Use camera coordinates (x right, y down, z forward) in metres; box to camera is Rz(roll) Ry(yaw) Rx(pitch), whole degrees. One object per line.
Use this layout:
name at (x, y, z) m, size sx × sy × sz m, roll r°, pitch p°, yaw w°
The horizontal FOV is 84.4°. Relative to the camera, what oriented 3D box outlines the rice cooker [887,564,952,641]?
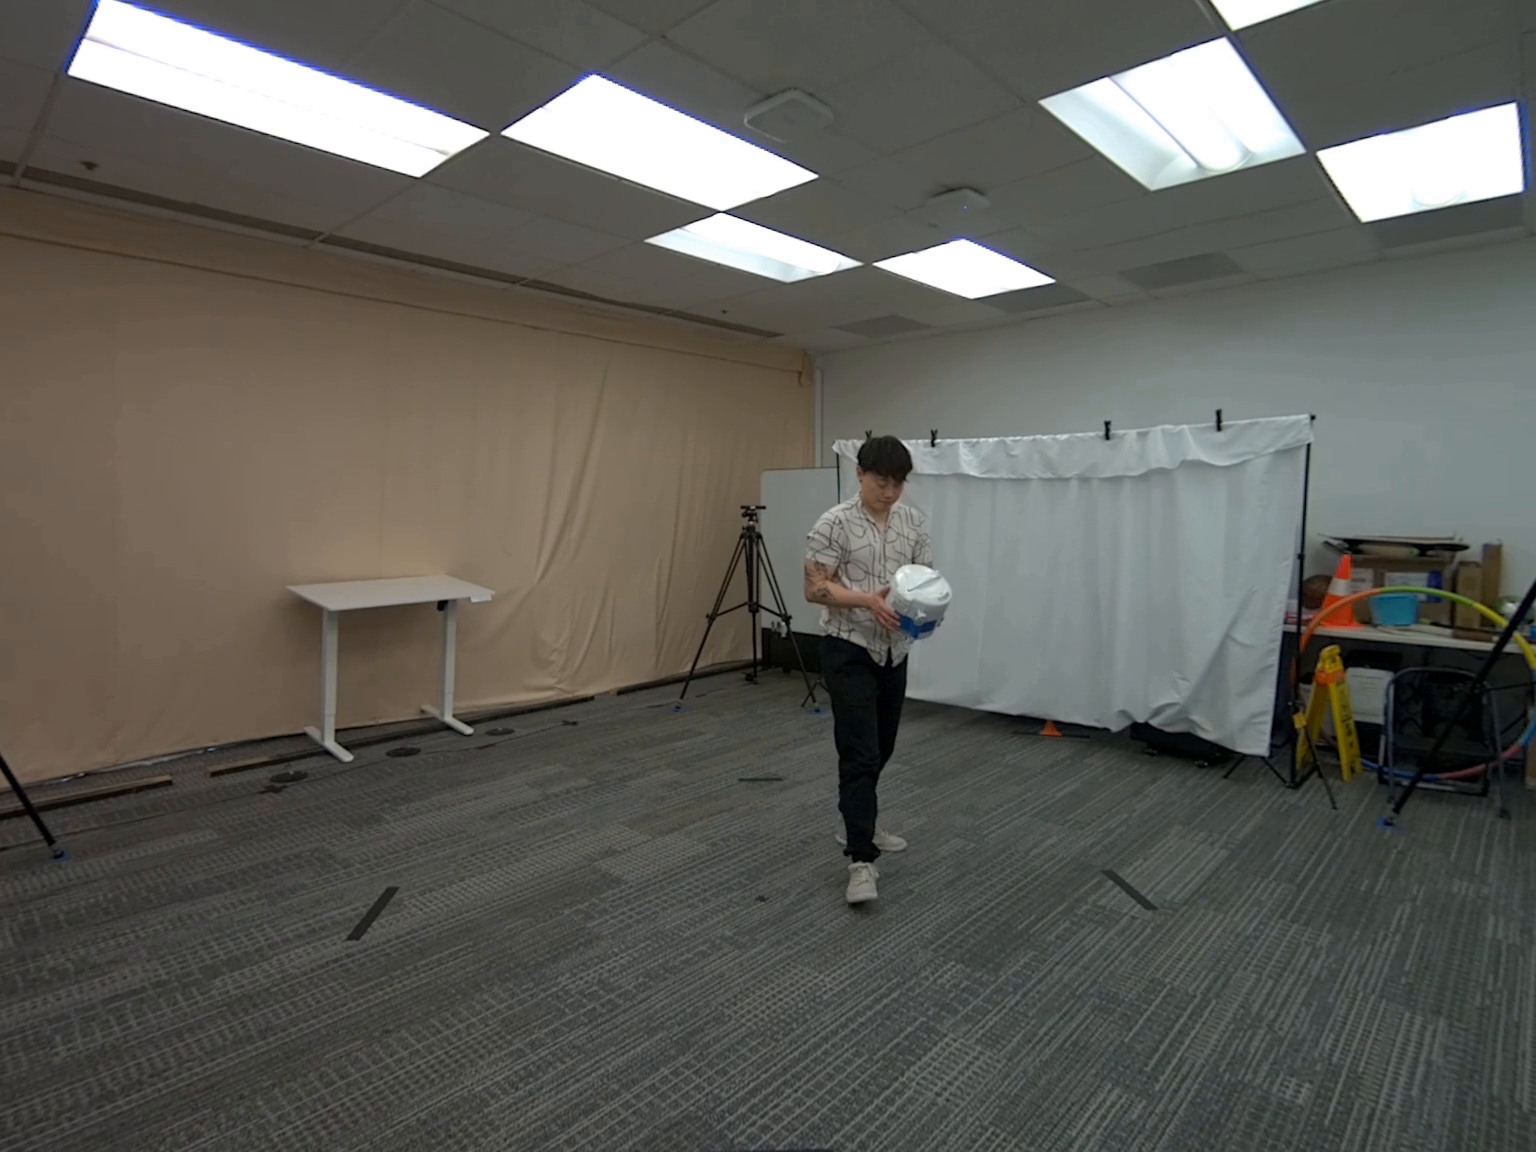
rice cooker at (0.523, 0.079, 2.948) m, size 0.215 × 0.231 × 0.224 m, roll -20°, pitch 53°, yaw -37°
